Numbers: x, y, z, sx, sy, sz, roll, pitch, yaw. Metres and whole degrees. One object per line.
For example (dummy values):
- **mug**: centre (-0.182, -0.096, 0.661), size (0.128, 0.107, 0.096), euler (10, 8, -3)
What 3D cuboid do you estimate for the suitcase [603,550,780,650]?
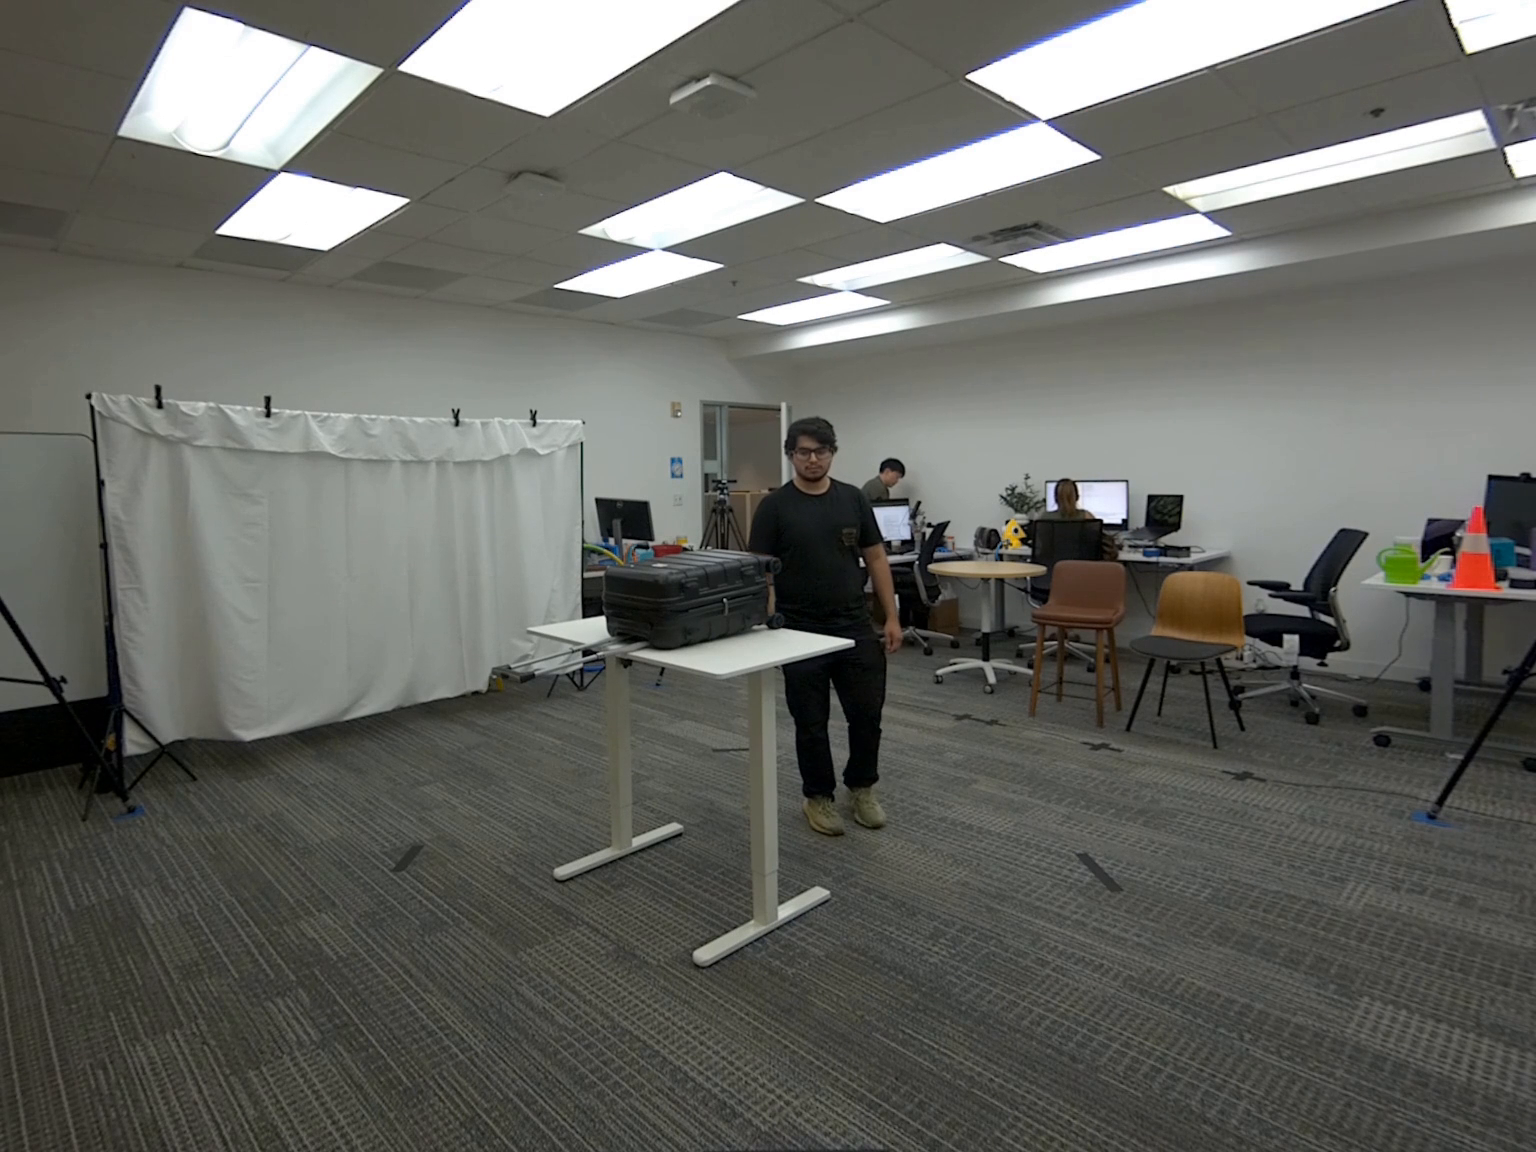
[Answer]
- **suitcase**: centre (-0.402, 0.098, 2.725), size (0.954, 0.255, 0.396), euler (-10, 12, -44)
